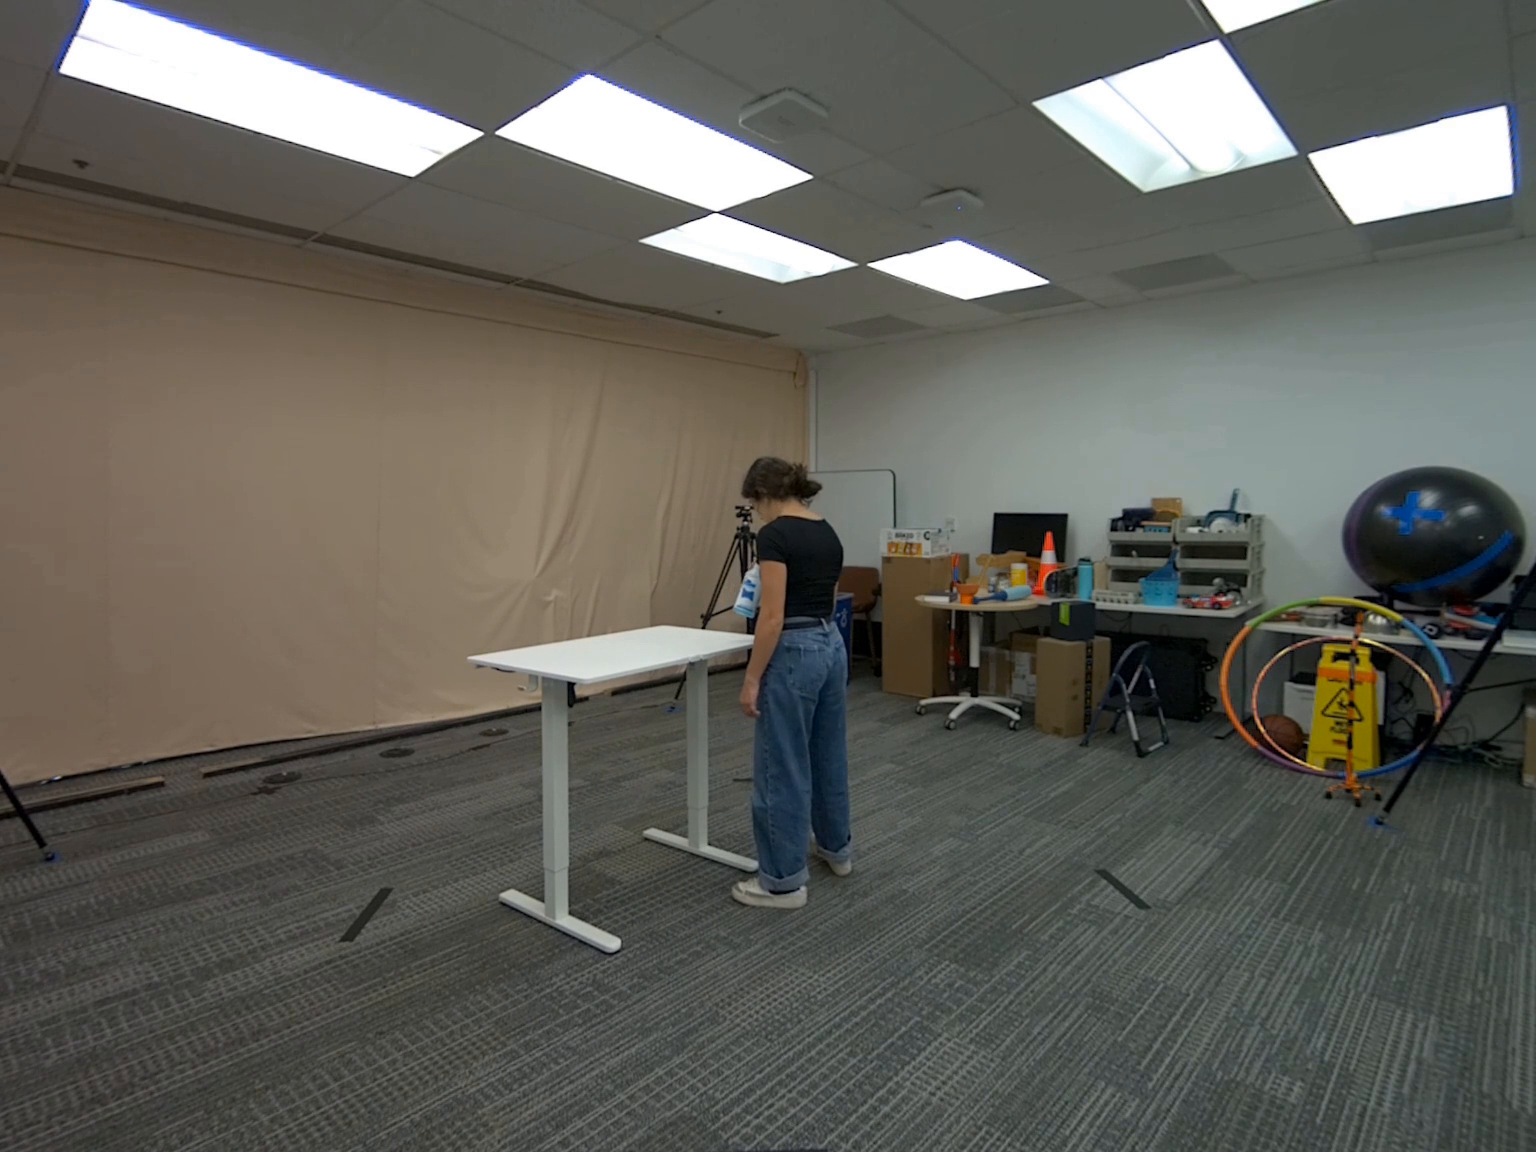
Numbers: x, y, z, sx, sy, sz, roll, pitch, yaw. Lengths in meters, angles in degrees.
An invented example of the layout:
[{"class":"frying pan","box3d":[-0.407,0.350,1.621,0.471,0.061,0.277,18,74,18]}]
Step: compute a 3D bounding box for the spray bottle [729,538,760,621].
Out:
[{"class":"spray bottle","box3d":[-0.048,0.009,3.226,0.089,0.297,0.088,22,-5,-10]}]
